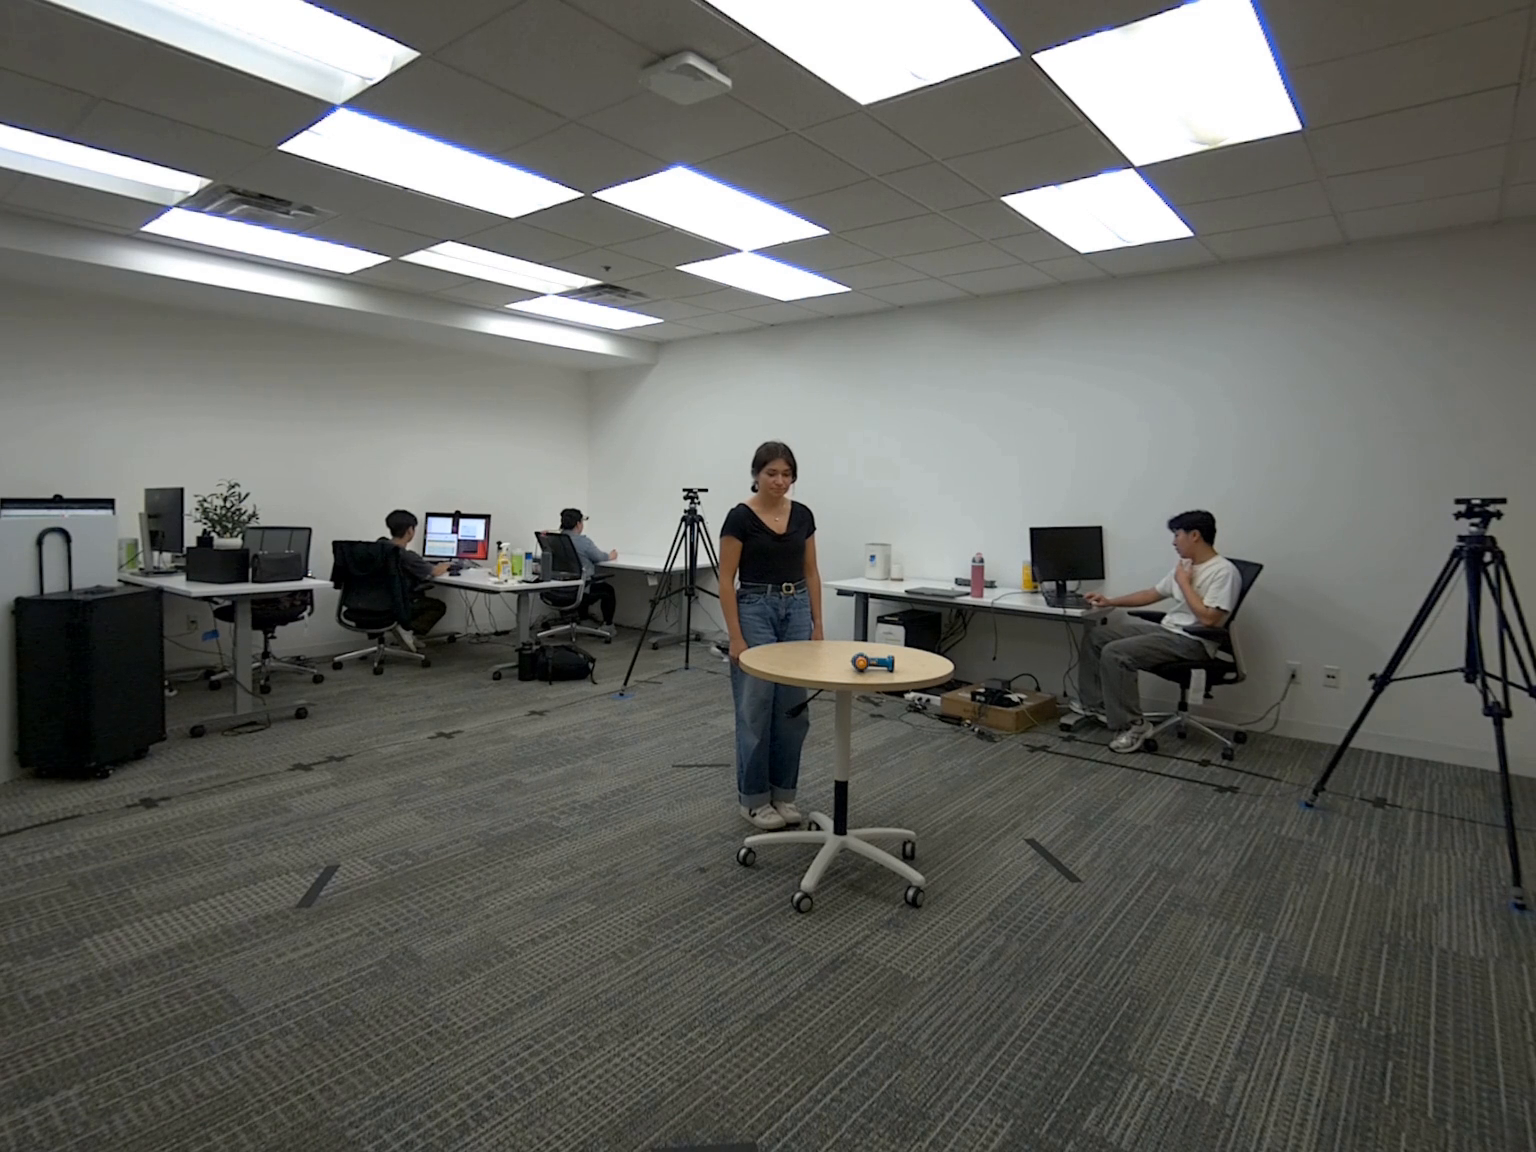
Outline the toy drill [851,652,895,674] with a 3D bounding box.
[{"bbox_3d":[0.364,0.285,2.875,0.147,0.061,0.168,2,-3,3],"label":"toy drill"}]
